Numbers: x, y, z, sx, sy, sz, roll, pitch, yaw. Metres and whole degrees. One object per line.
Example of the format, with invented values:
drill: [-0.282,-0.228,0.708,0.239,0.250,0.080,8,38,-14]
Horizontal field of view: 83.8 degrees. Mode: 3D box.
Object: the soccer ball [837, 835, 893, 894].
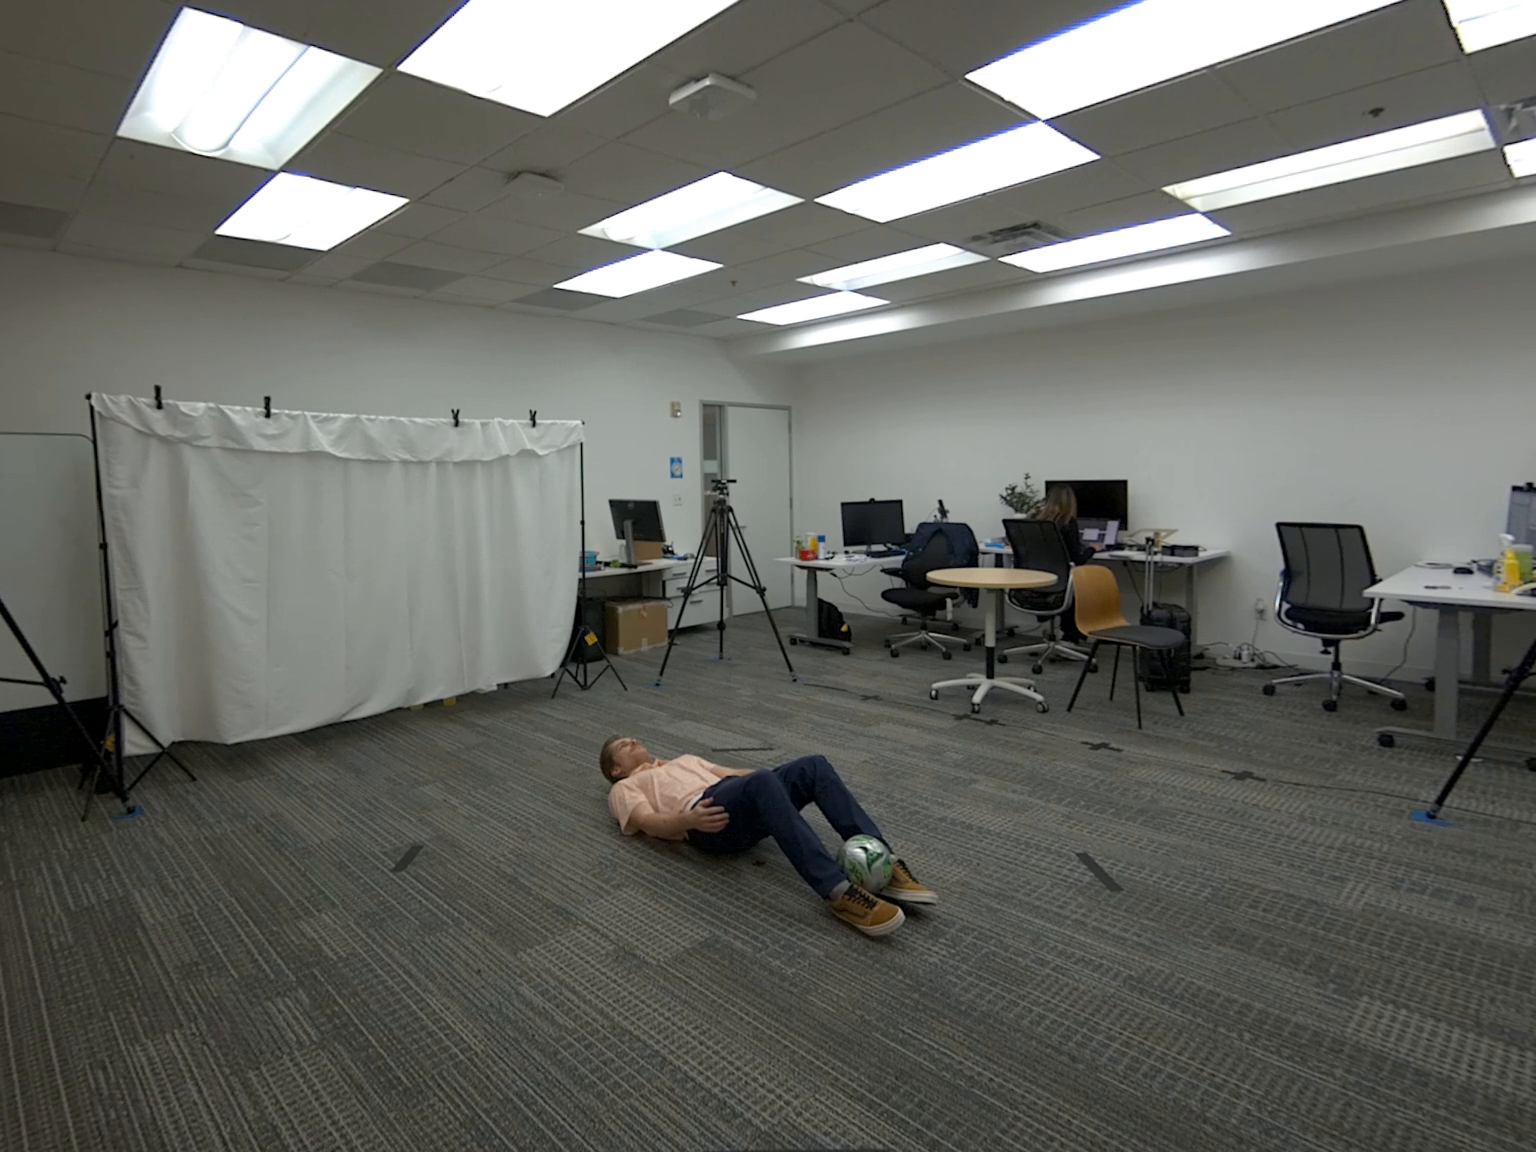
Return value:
soccer ball: [0.299,0.939,2.775,0.187,0.187,0.188,-1,5,-2]
